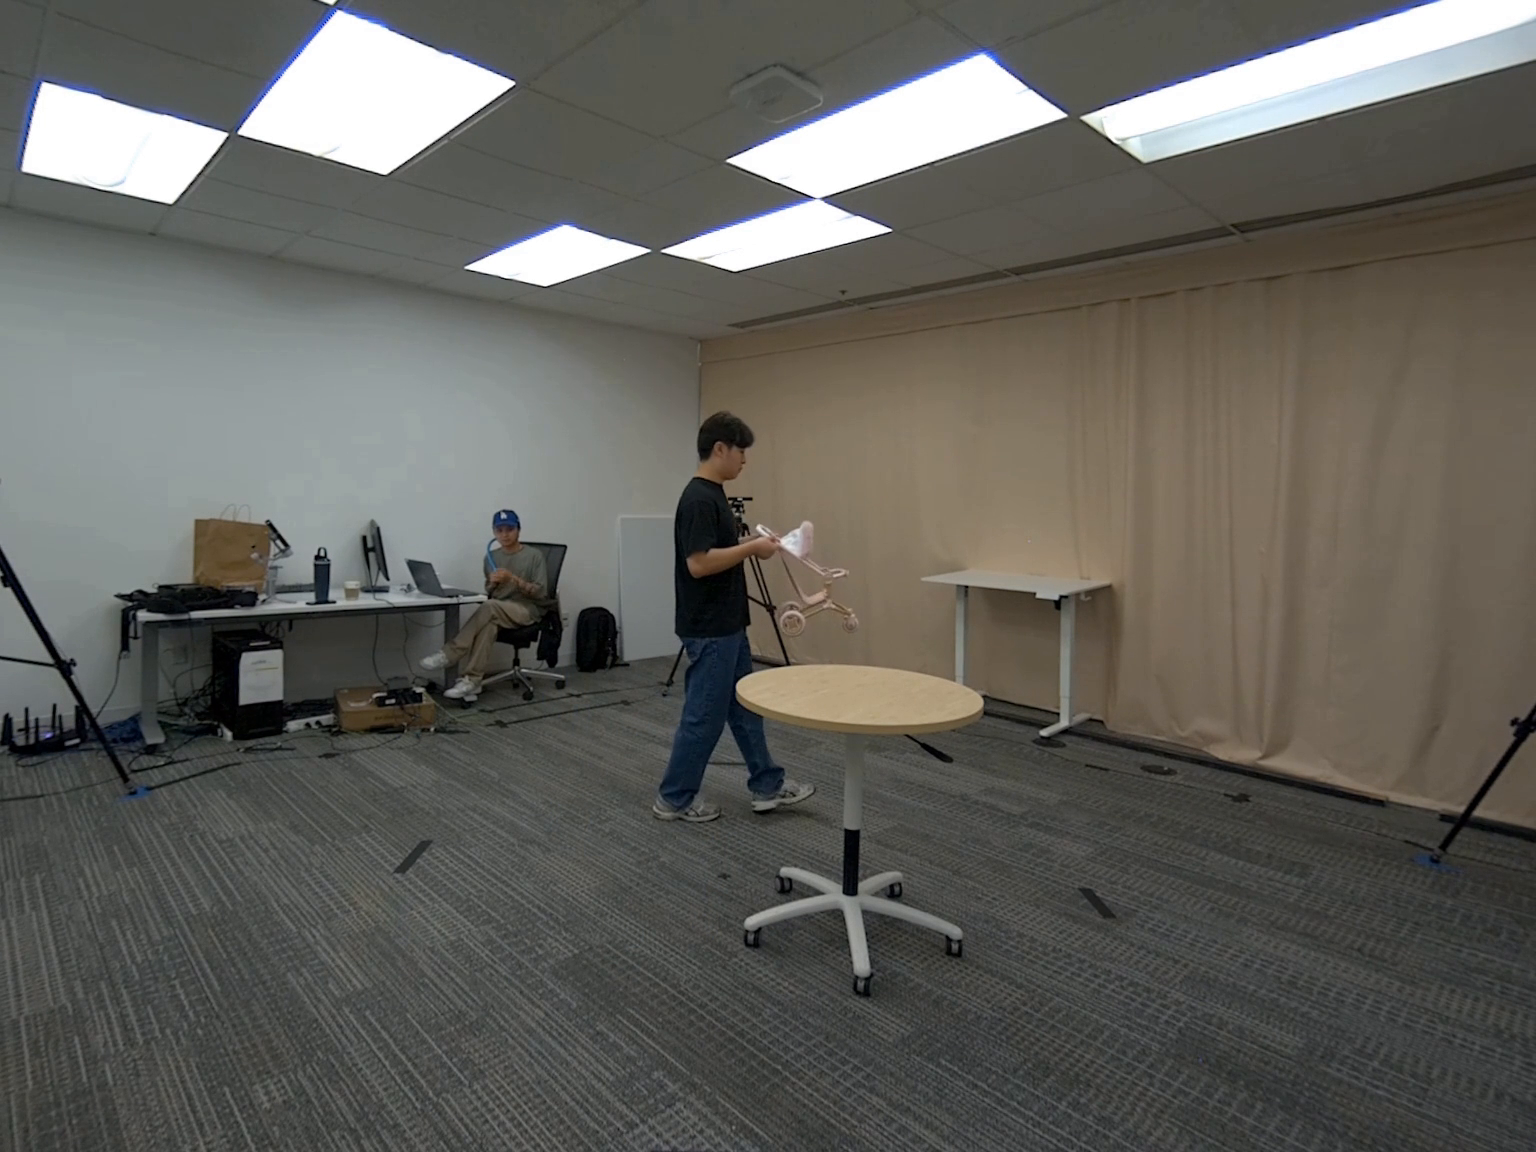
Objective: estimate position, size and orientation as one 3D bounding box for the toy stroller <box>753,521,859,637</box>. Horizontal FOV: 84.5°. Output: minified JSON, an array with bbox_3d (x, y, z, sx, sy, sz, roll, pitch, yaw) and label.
[{"bbox_3d":[0.170,0.009,3.572,0.343,0.533,0.281,-12,3,8],"label":"toy stroller"}]
